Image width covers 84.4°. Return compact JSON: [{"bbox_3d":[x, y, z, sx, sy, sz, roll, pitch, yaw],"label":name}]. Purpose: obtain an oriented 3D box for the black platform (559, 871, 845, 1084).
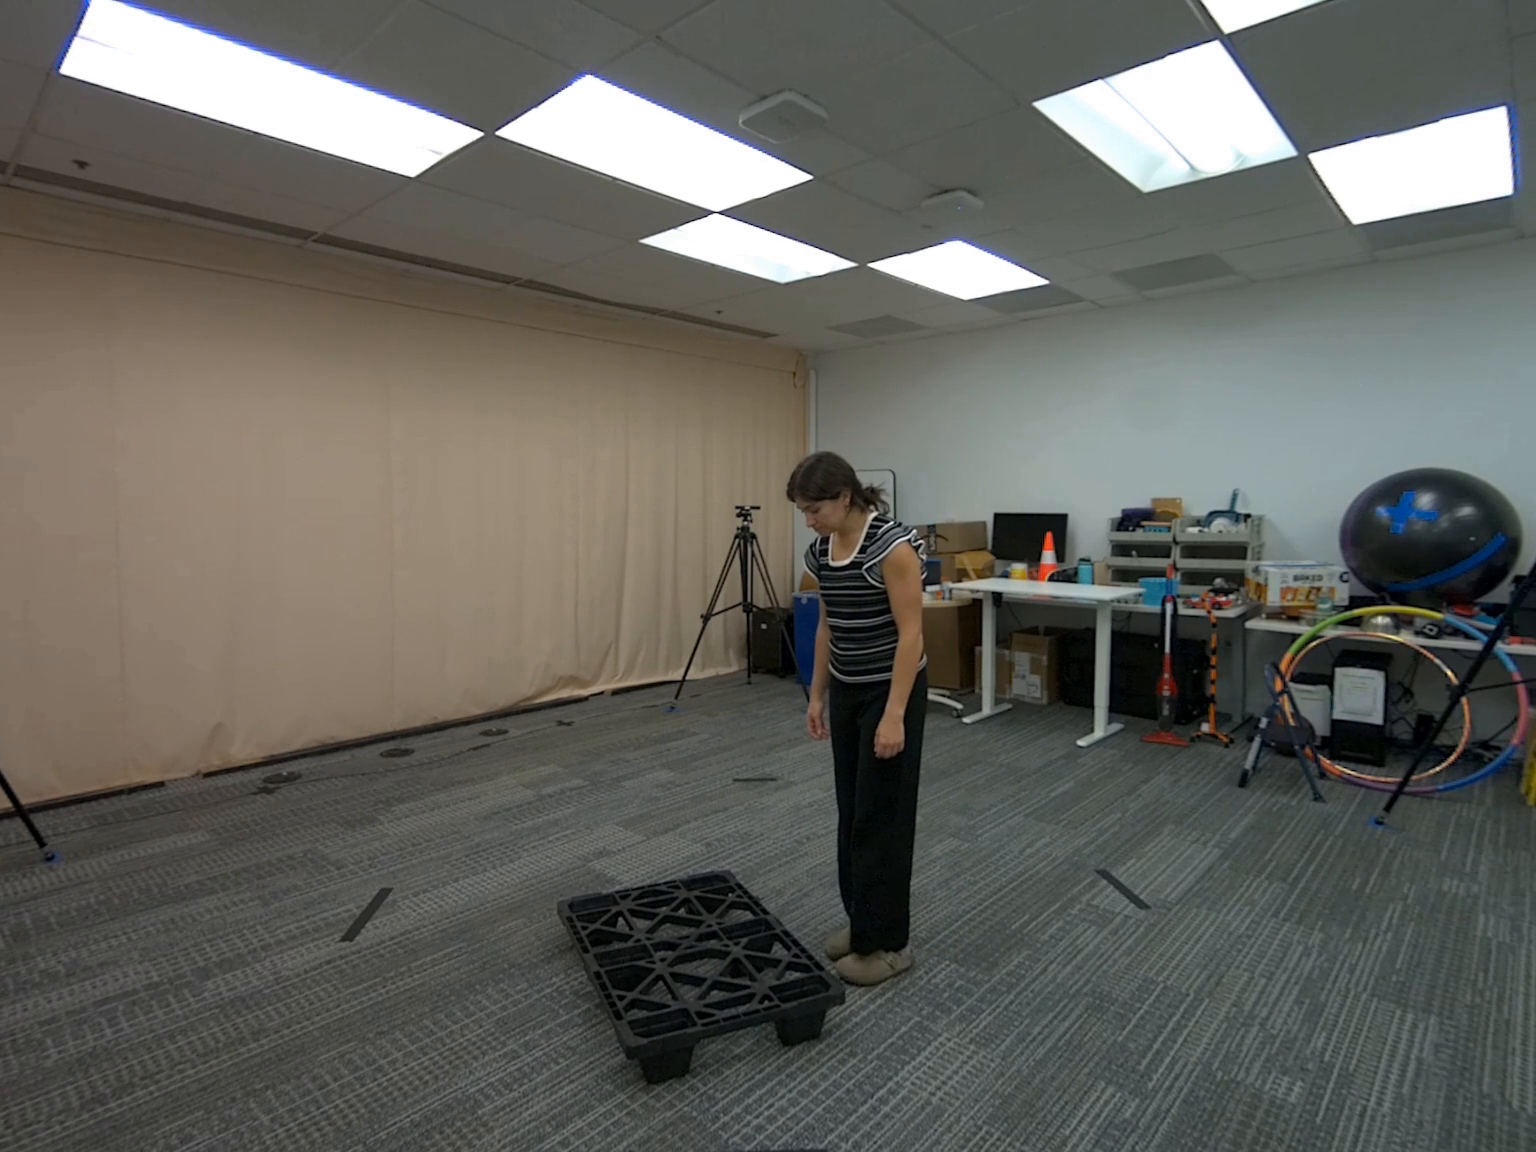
[{"bbox_3d":[-0.231,1.123,2.439,0.591,0.143,0.826,-3,5,-25],"label":"black platform"}]
